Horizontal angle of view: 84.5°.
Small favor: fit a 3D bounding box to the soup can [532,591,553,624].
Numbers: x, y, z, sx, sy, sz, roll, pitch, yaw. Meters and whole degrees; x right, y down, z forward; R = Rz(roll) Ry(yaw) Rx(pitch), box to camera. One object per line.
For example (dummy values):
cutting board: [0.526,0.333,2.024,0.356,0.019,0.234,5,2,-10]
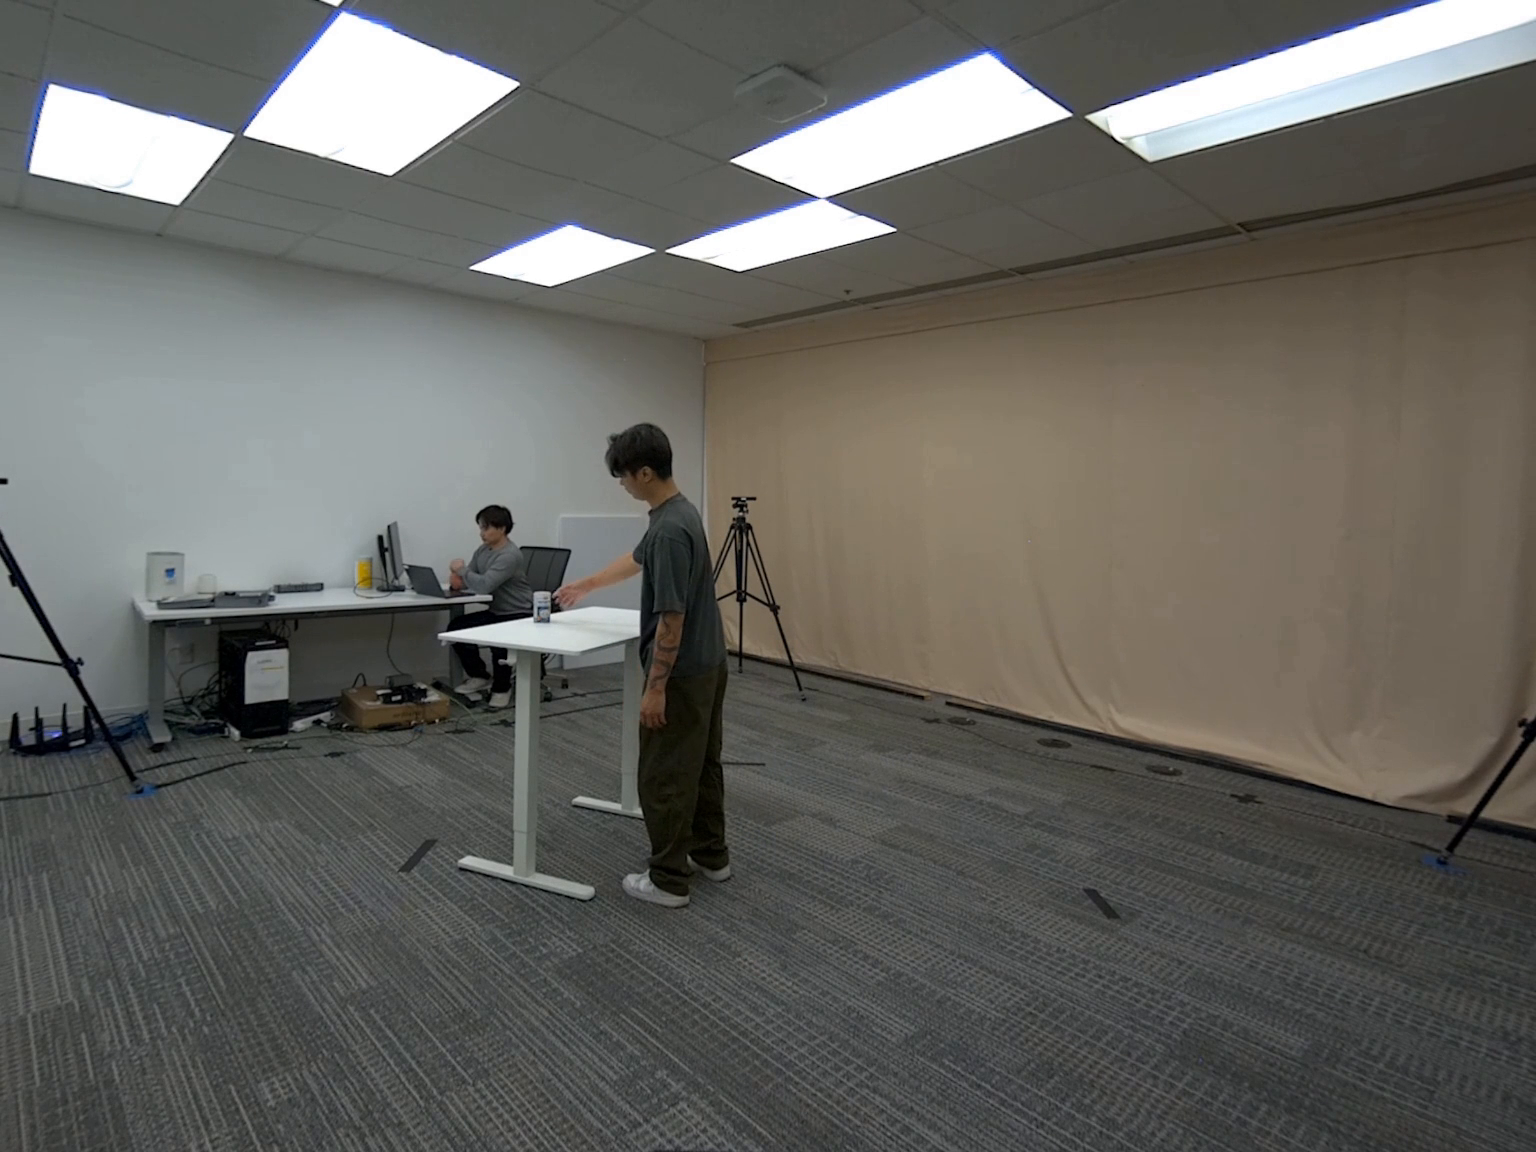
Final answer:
soup can: [-0.901,0.126,3.342,0.067,0.121,0.067,-1,4,-1]
